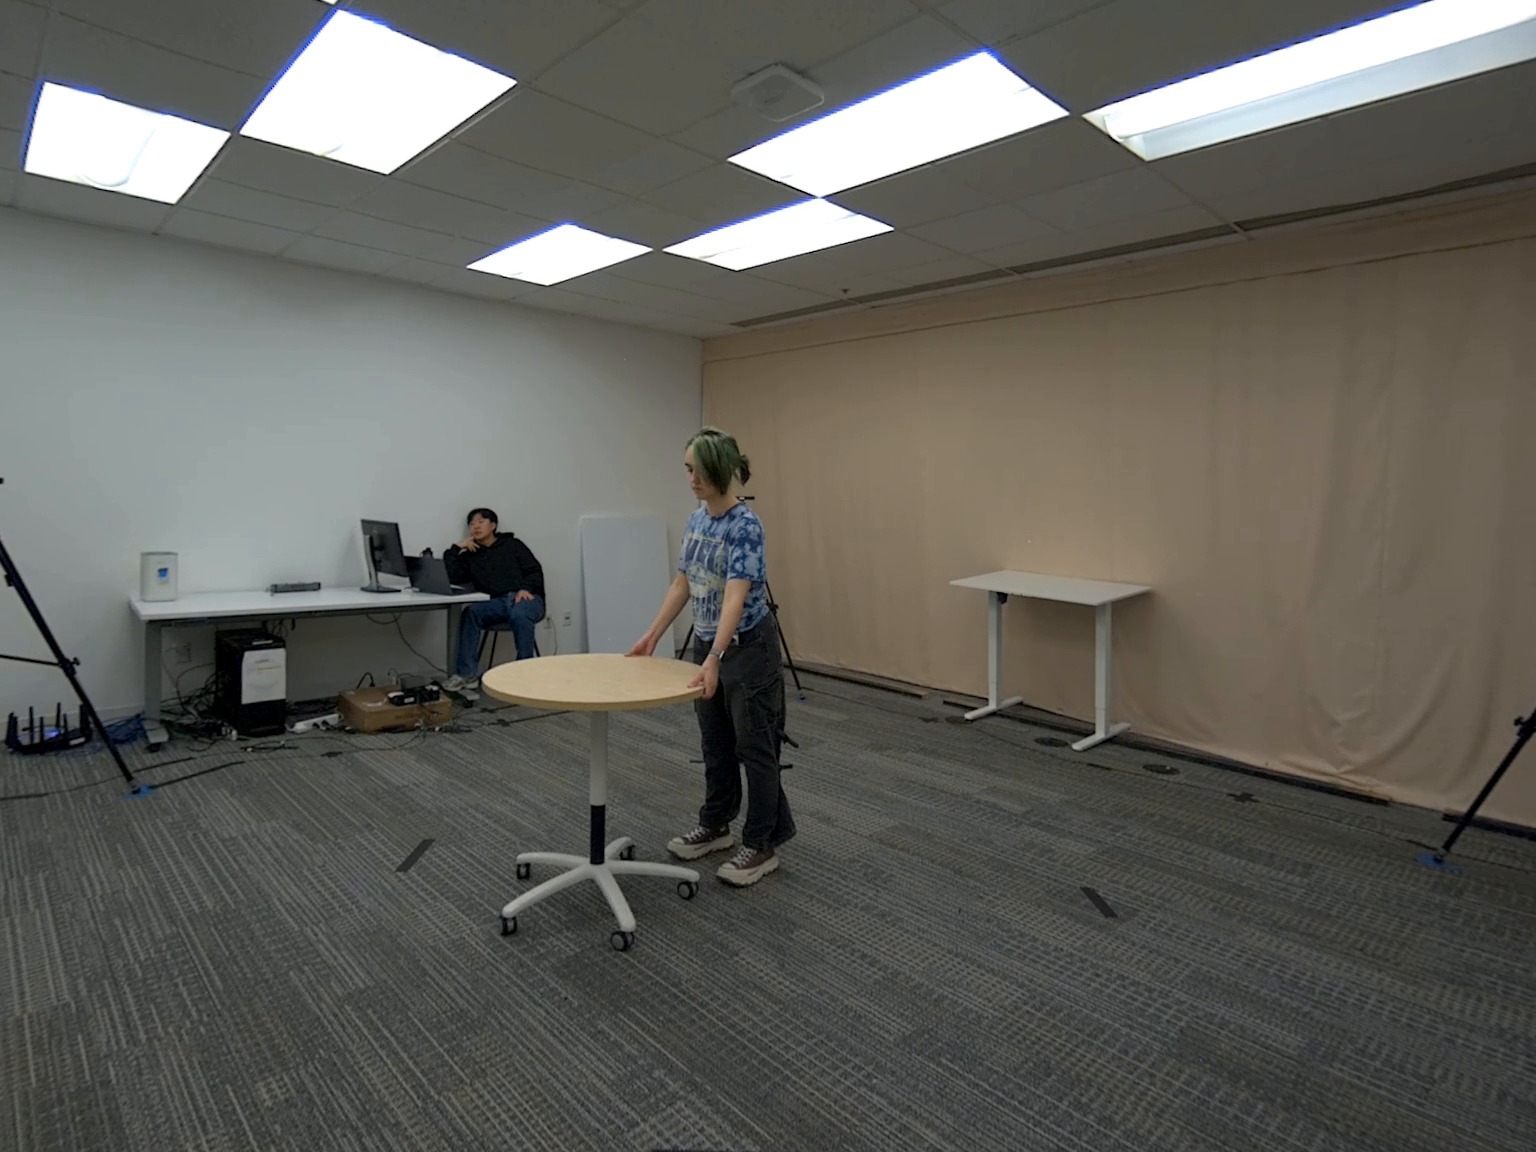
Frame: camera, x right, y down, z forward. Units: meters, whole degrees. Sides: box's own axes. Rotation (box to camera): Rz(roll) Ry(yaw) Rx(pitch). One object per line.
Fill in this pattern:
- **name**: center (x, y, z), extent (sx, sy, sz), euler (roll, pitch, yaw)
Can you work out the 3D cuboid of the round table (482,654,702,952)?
- **round table**: center (-0.579, 0.728, 2.854), extent (0.763, 0.792, 0.767), euler (1, 4, -1)
